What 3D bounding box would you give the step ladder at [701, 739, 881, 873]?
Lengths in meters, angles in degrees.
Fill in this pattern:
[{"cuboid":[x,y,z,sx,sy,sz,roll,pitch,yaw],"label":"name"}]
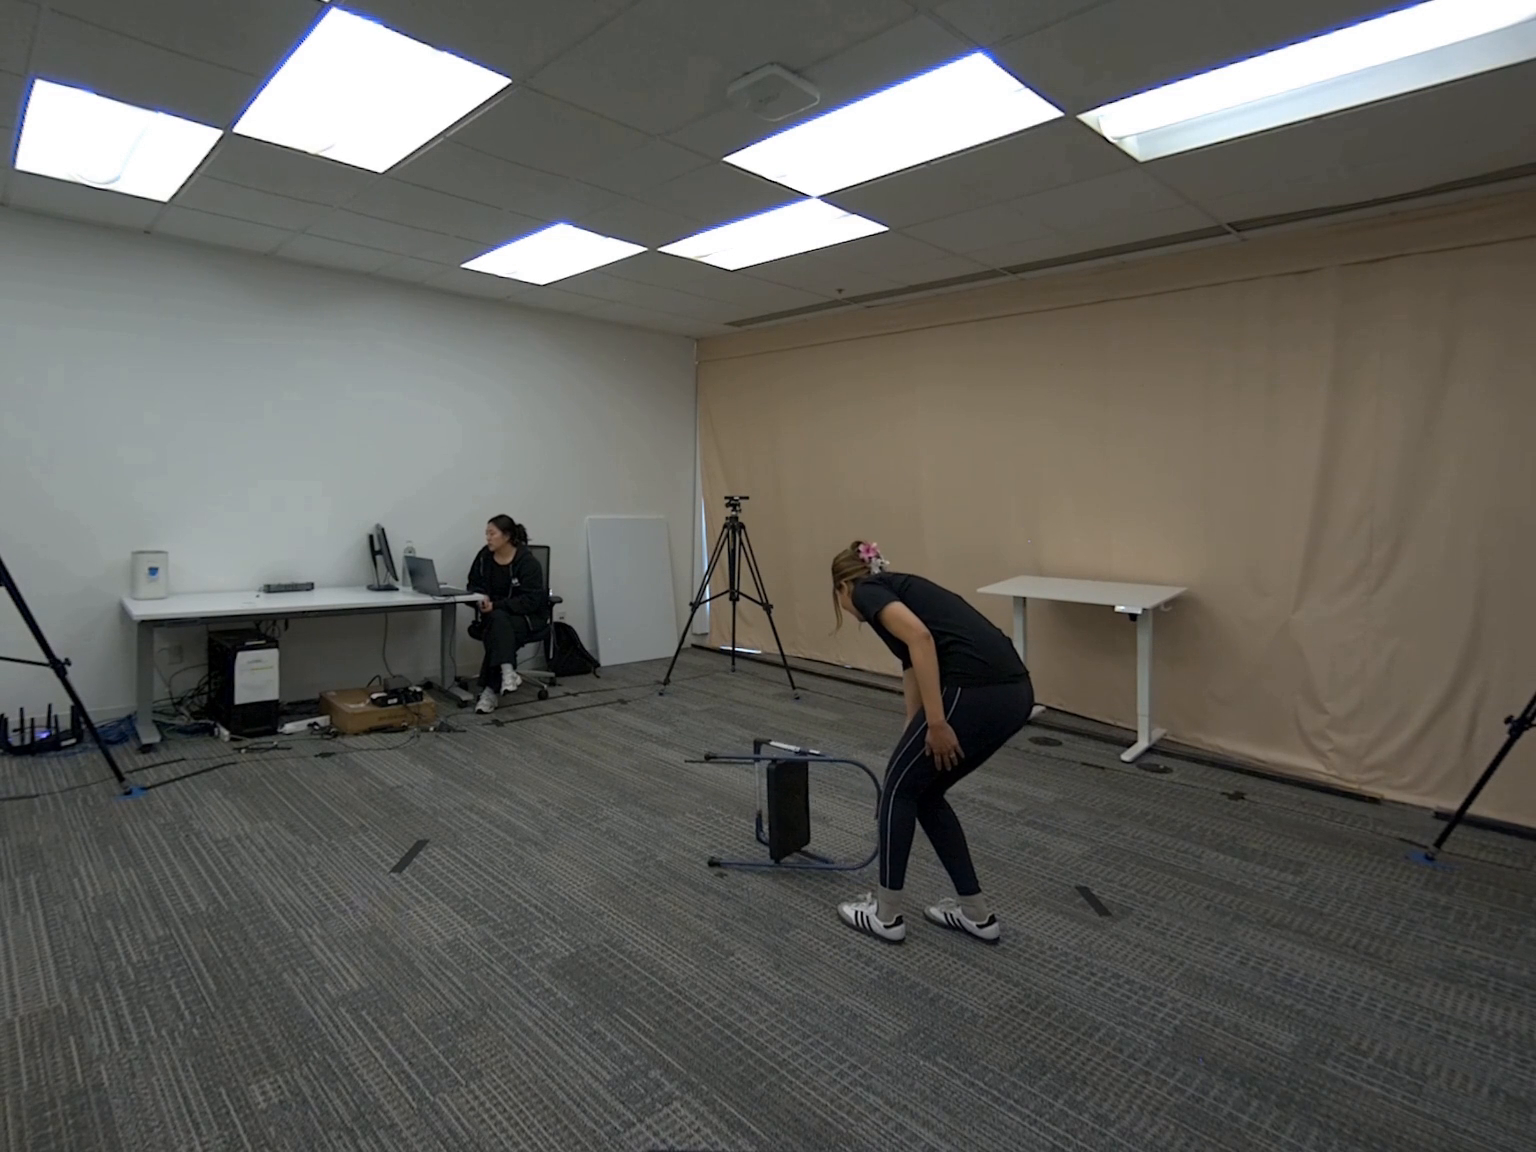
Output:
[{"cuboid":[0.110,0.870,3.143,0.619,0.431,0.342,-2,0,34],"label":"step ladder"}]
